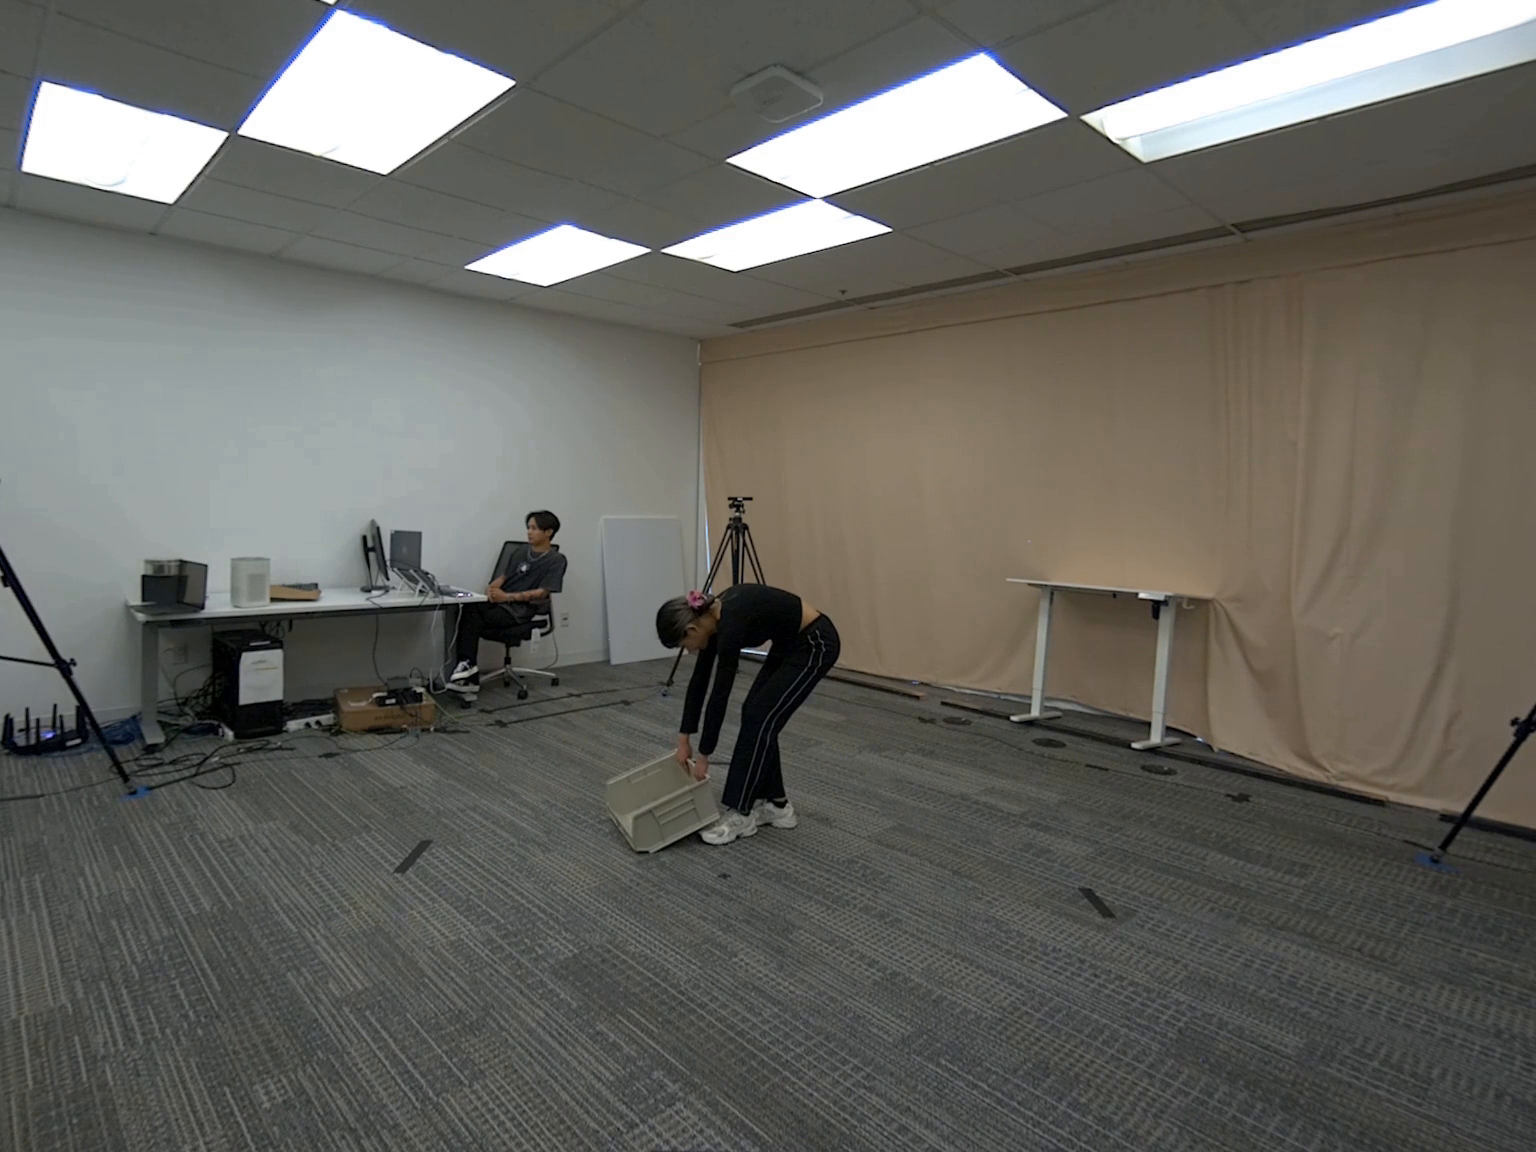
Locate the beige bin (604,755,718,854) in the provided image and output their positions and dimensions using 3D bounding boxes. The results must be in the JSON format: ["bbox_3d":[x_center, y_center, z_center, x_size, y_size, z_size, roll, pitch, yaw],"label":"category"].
[{"bbox_3d":[-0.459,0.936,3.502,0.373,0.187,0.430,-21,11,-21],"label":"beige bin"}]
